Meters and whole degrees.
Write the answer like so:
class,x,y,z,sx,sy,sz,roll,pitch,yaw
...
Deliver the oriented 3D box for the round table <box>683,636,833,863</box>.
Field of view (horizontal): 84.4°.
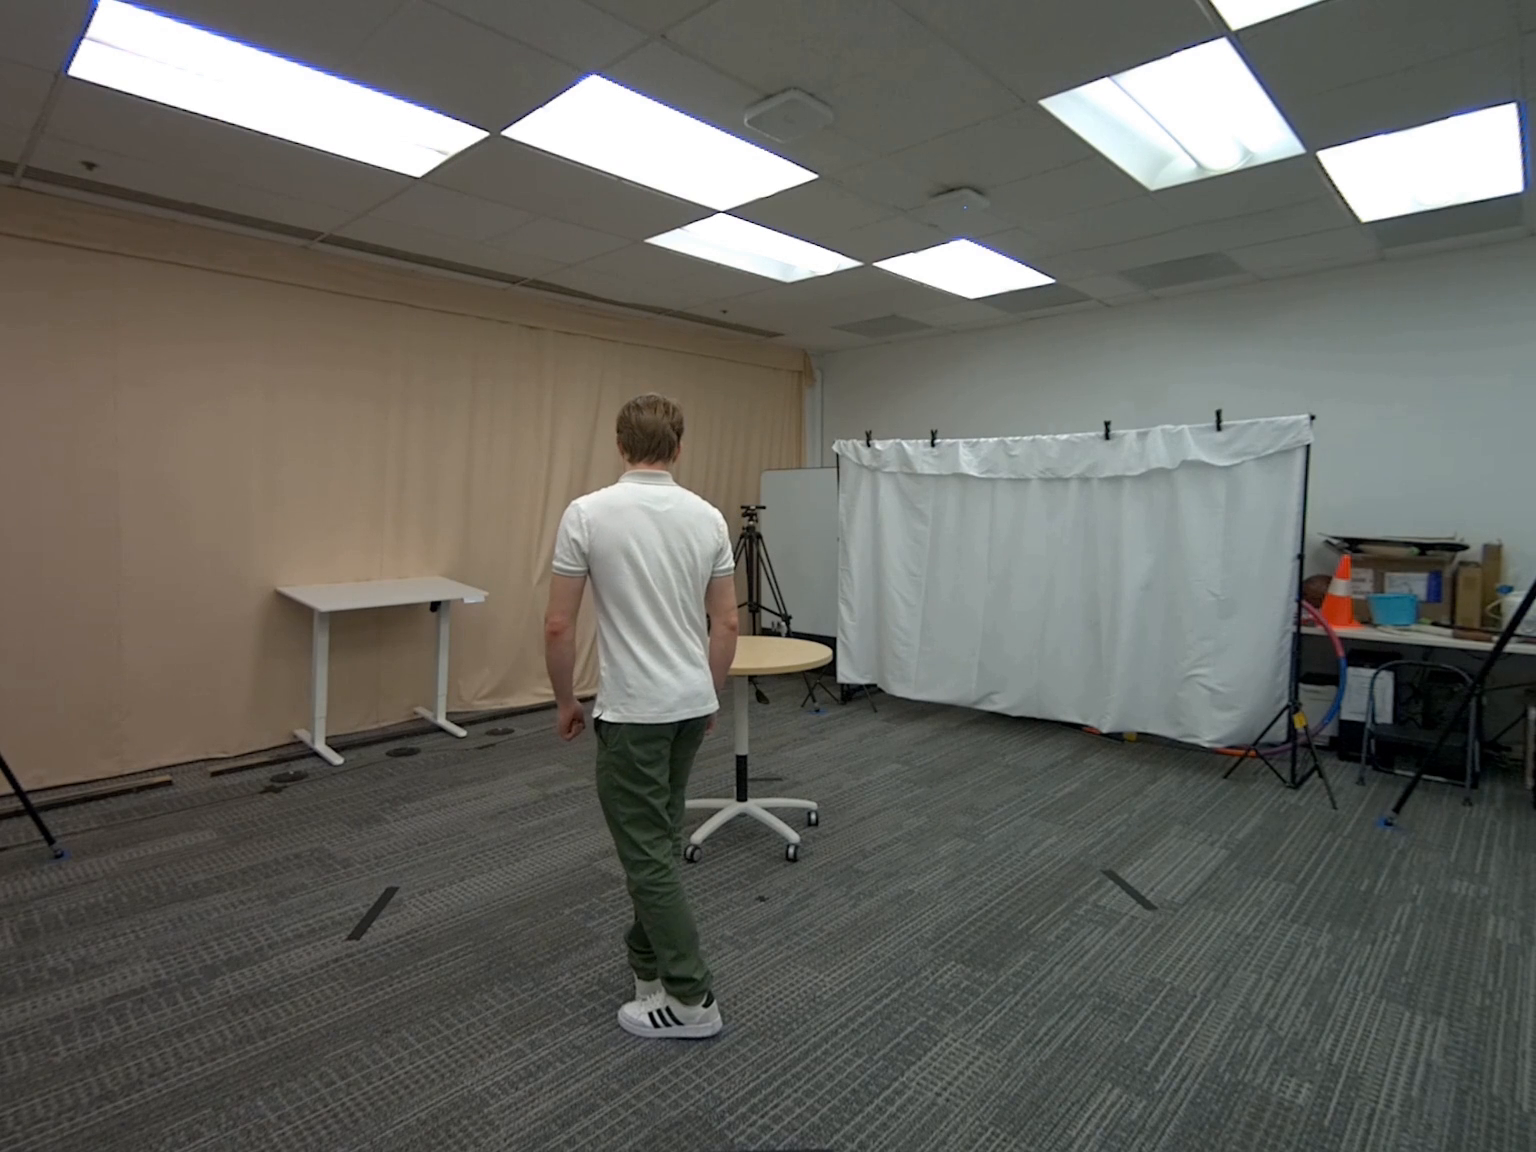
class,x,y,z,sx,sy,sz,roll,pitch,yaw
round table,-0.104,0.707,3.566,0.763,0.792,0.766,0,4,-2
